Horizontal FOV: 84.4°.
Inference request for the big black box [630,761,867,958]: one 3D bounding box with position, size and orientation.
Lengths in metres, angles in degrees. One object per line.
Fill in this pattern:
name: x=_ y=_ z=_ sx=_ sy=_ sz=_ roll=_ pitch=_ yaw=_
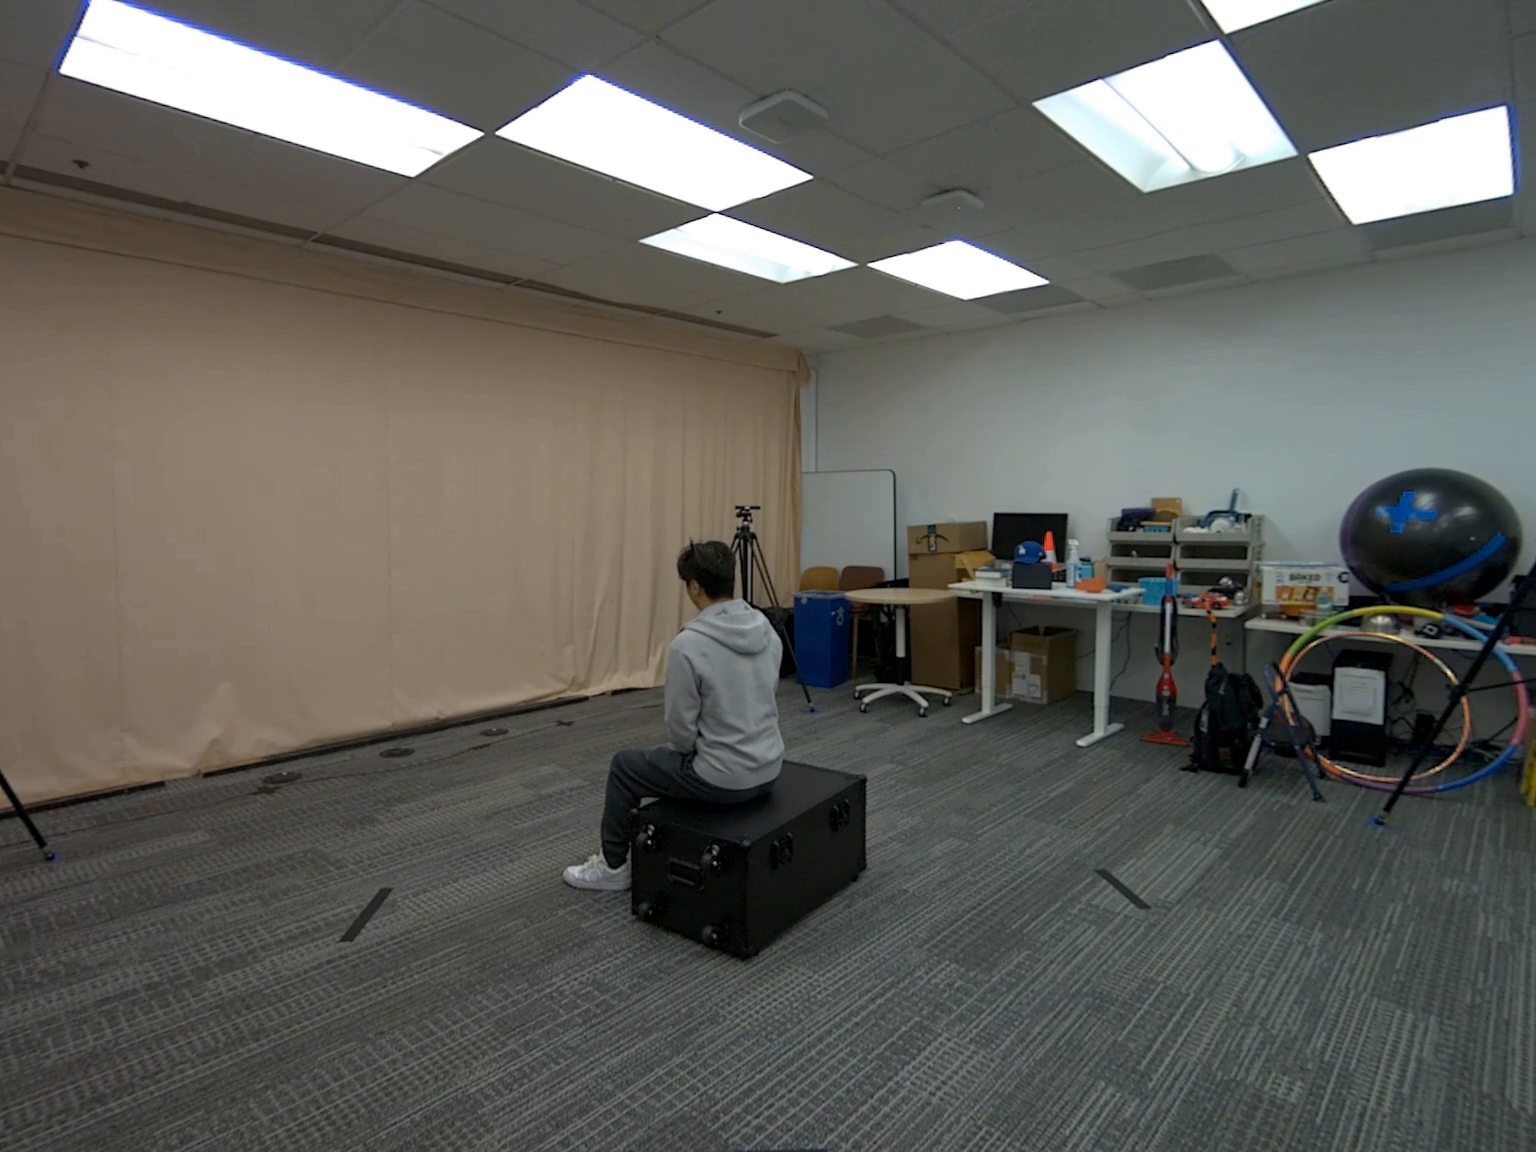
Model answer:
big black box: x=-0.018 y=0.959 z=3.011 sx=0.538 sy=0.395 sz=0.837 roll=3 pitch=6 yaw=35
